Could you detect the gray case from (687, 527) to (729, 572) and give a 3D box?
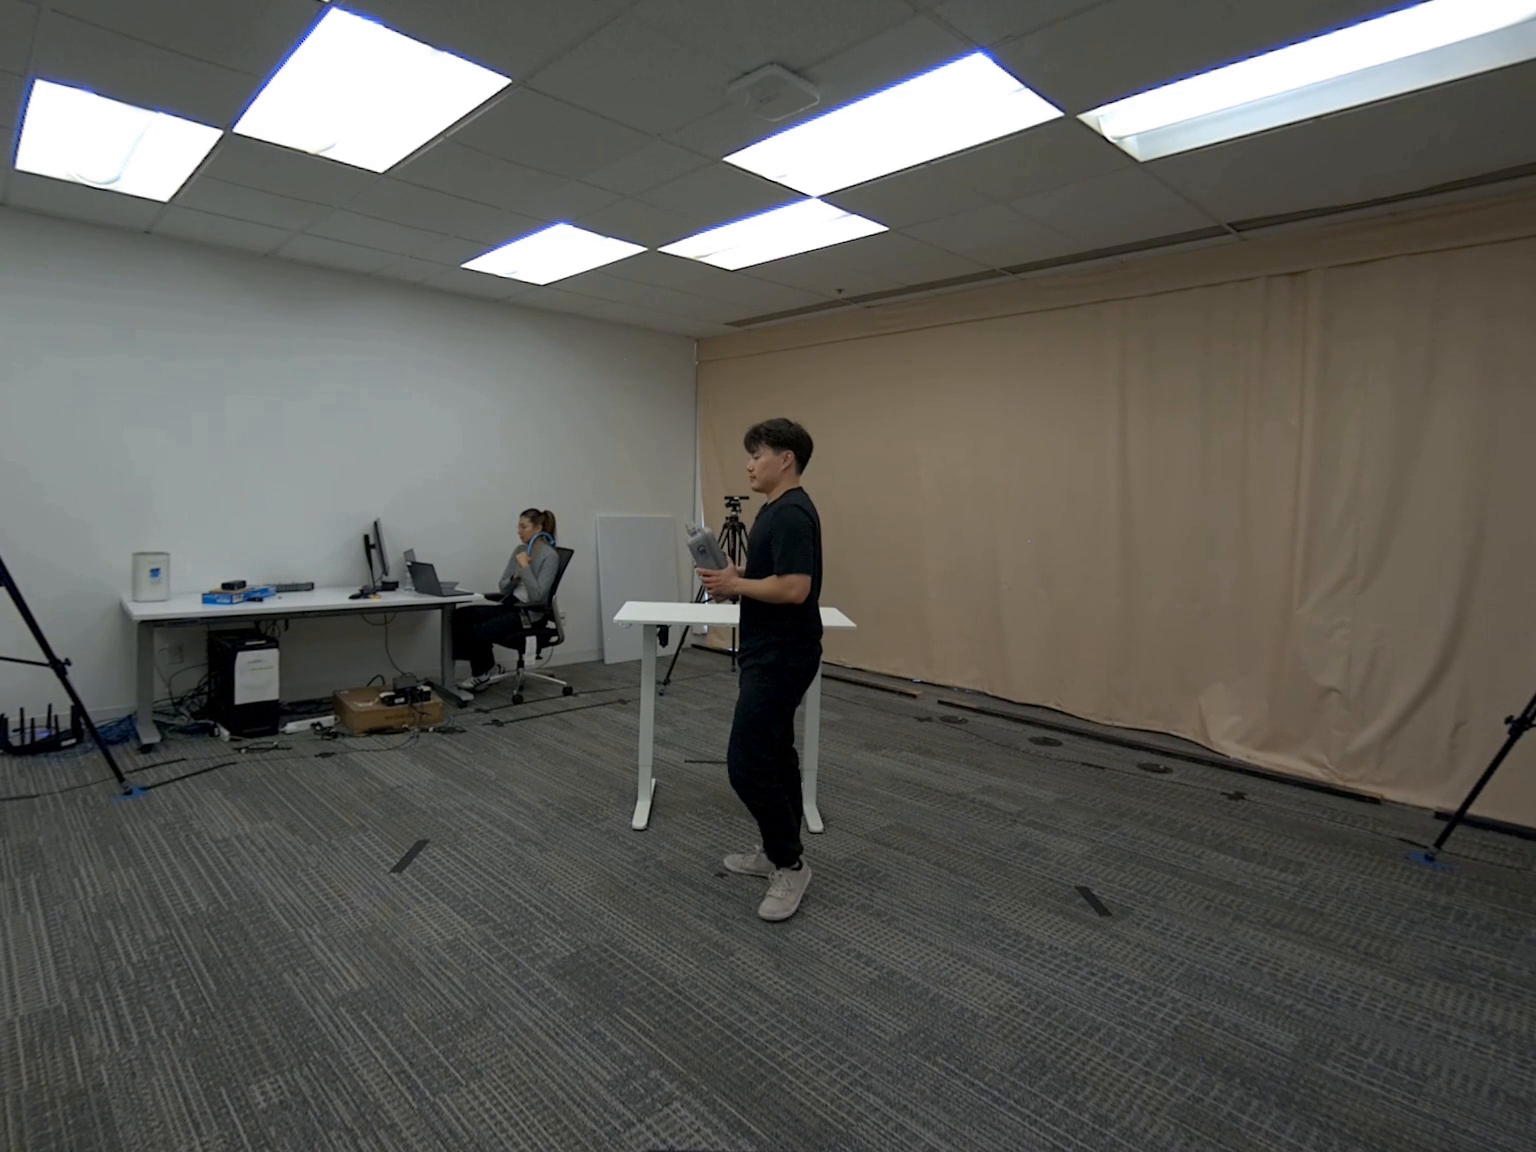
[{"bbox_3d":[-0.207,-0.047,2.990,0.104,0.258,0.259,-25,9,-4],"label":"gray case"}]
